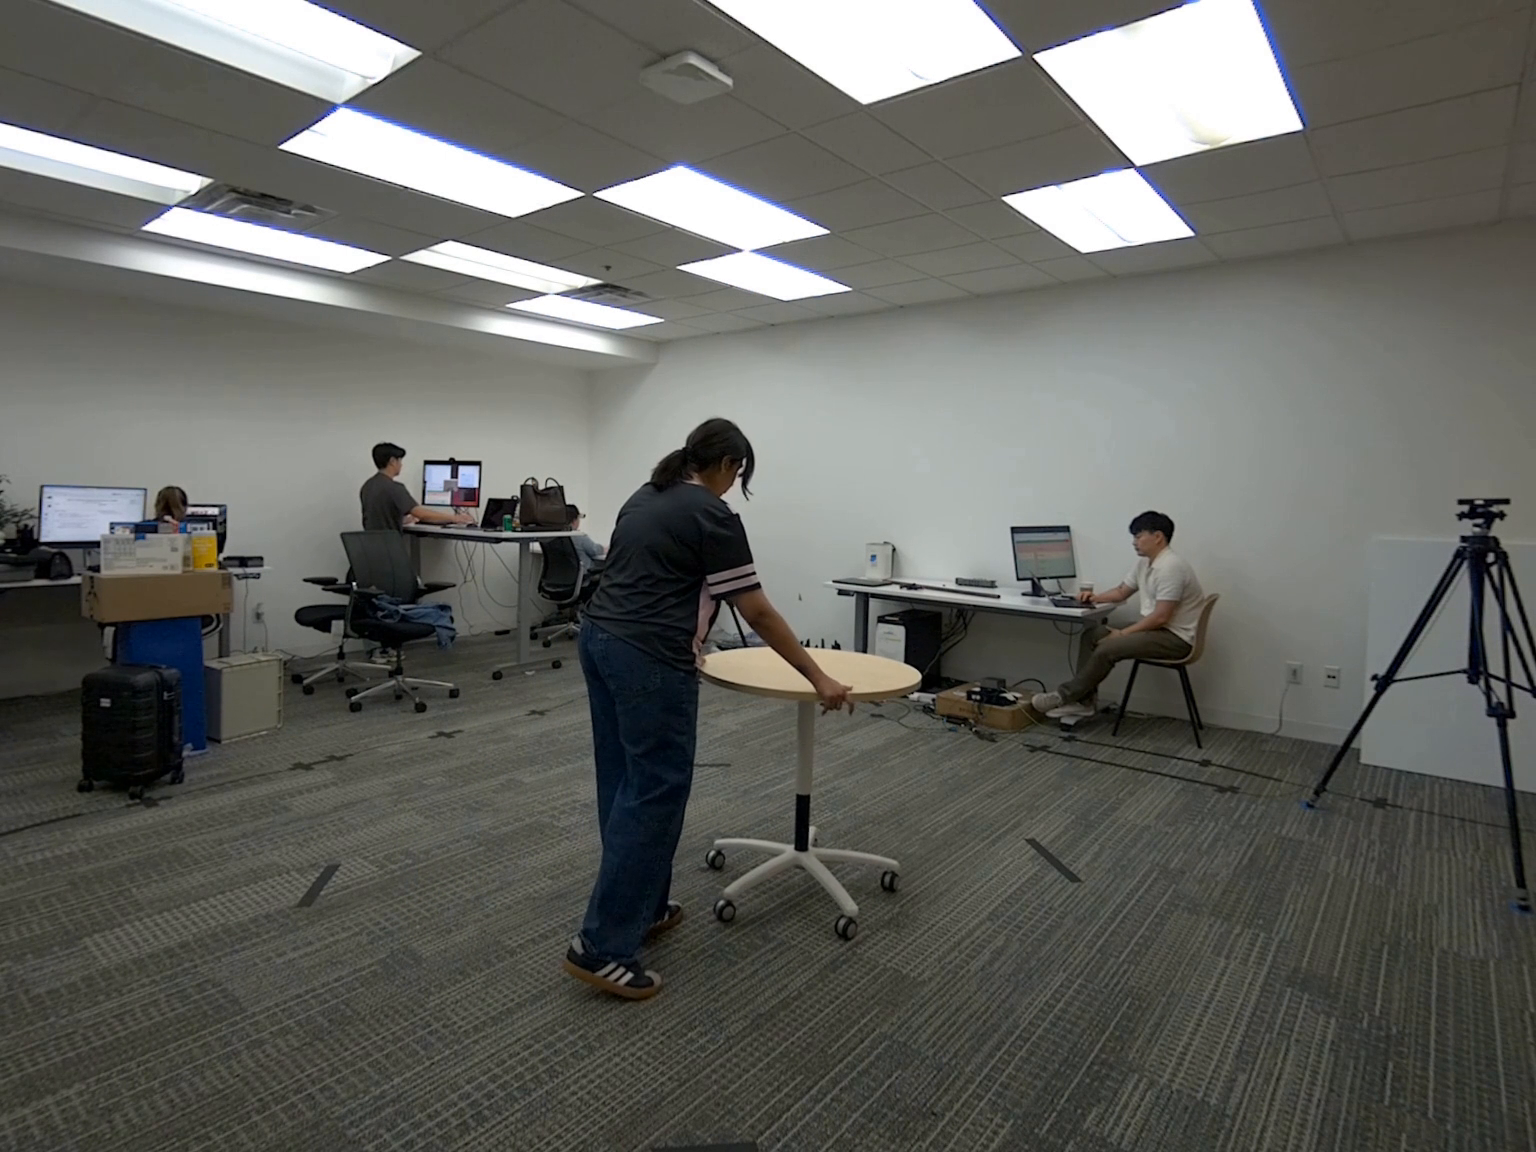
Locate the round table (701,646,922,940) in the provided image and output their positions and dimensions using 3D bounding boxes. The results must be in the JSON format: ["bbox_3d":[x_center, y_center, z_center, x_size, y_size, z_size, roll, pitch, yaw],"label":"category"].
[{"bbox_3d":[0.096,0.697,2.945,0.784,0.784,0.788,2,3,-2],"label":"round table"}]
